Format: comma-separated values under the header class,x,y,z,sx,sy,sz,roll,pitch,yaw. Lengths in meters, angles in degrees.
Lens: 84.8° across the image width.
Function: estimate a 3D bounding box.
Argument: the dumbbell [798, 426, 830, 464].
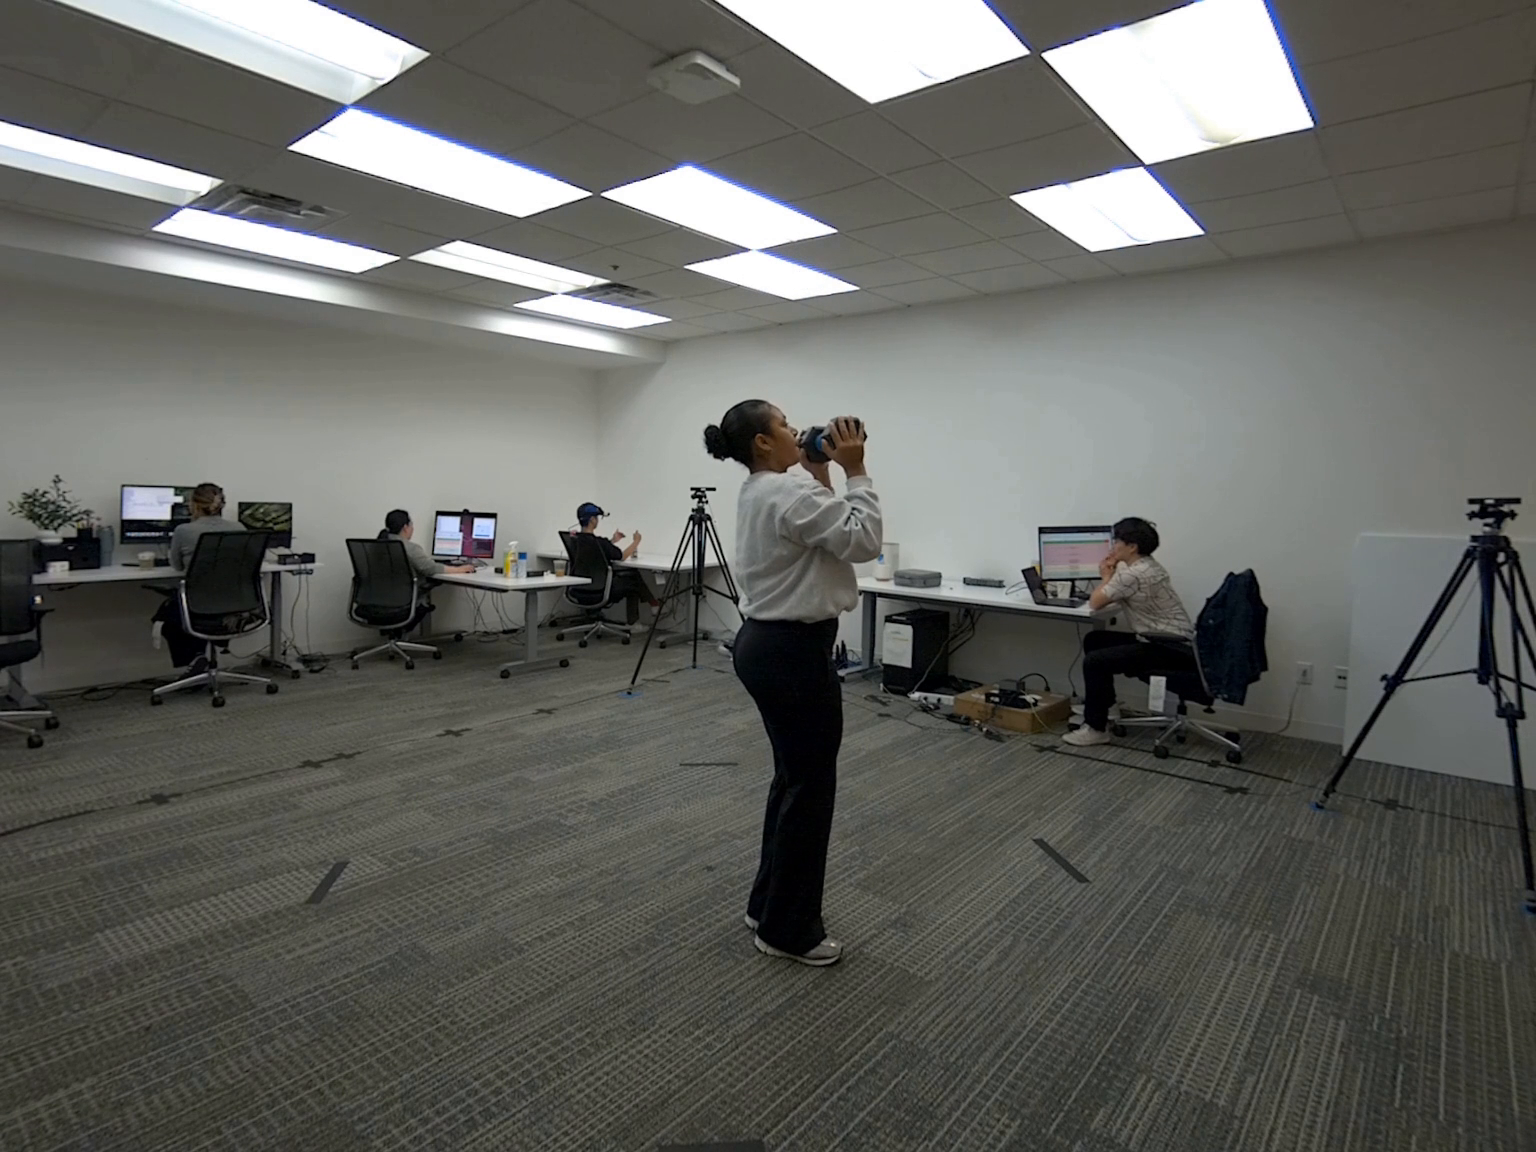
class,x,y,z,sx,sy,sz,roll,pitch,yaw
dumbbell,0.162,-0.417,2.557,0.107,0.123,0.298,32,-6,-14
